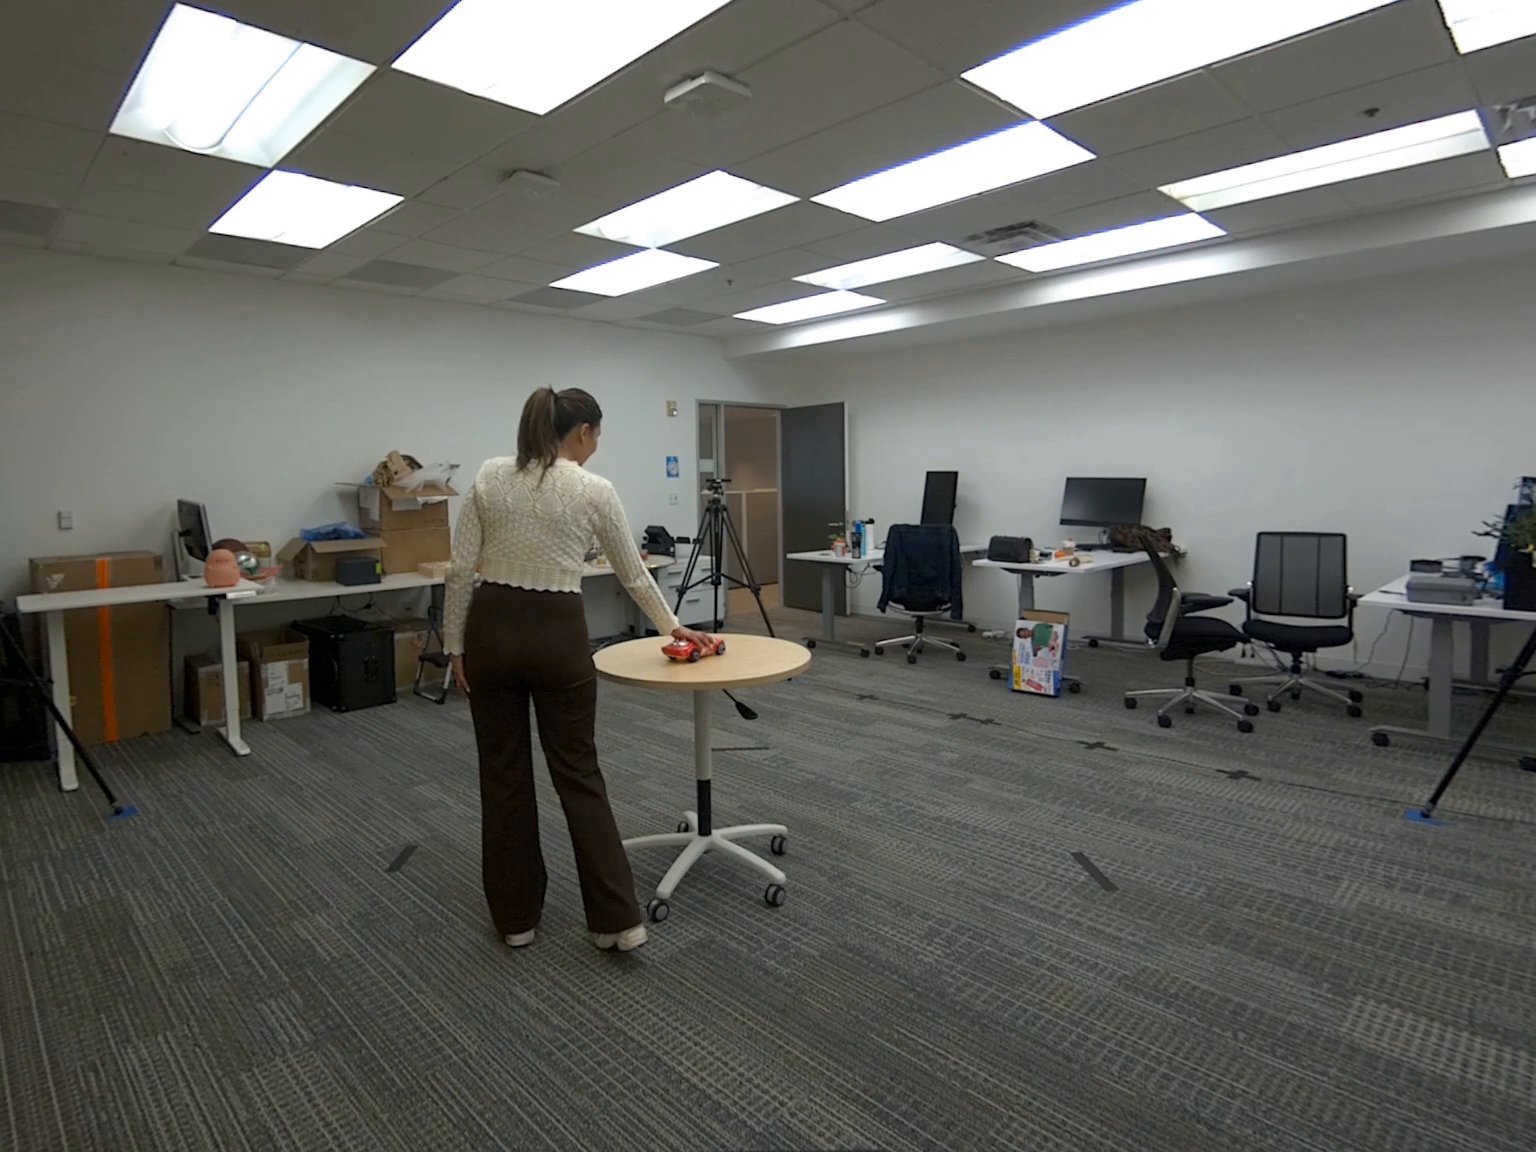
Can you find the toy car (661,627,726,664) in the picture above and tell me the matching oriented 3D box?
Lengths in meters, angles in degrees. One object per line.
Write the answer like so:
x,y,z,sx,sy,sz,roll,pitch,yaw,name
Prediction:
-0.260,0.252,2.940,0.134,0.083,0.246,5,-2,35,toy car
